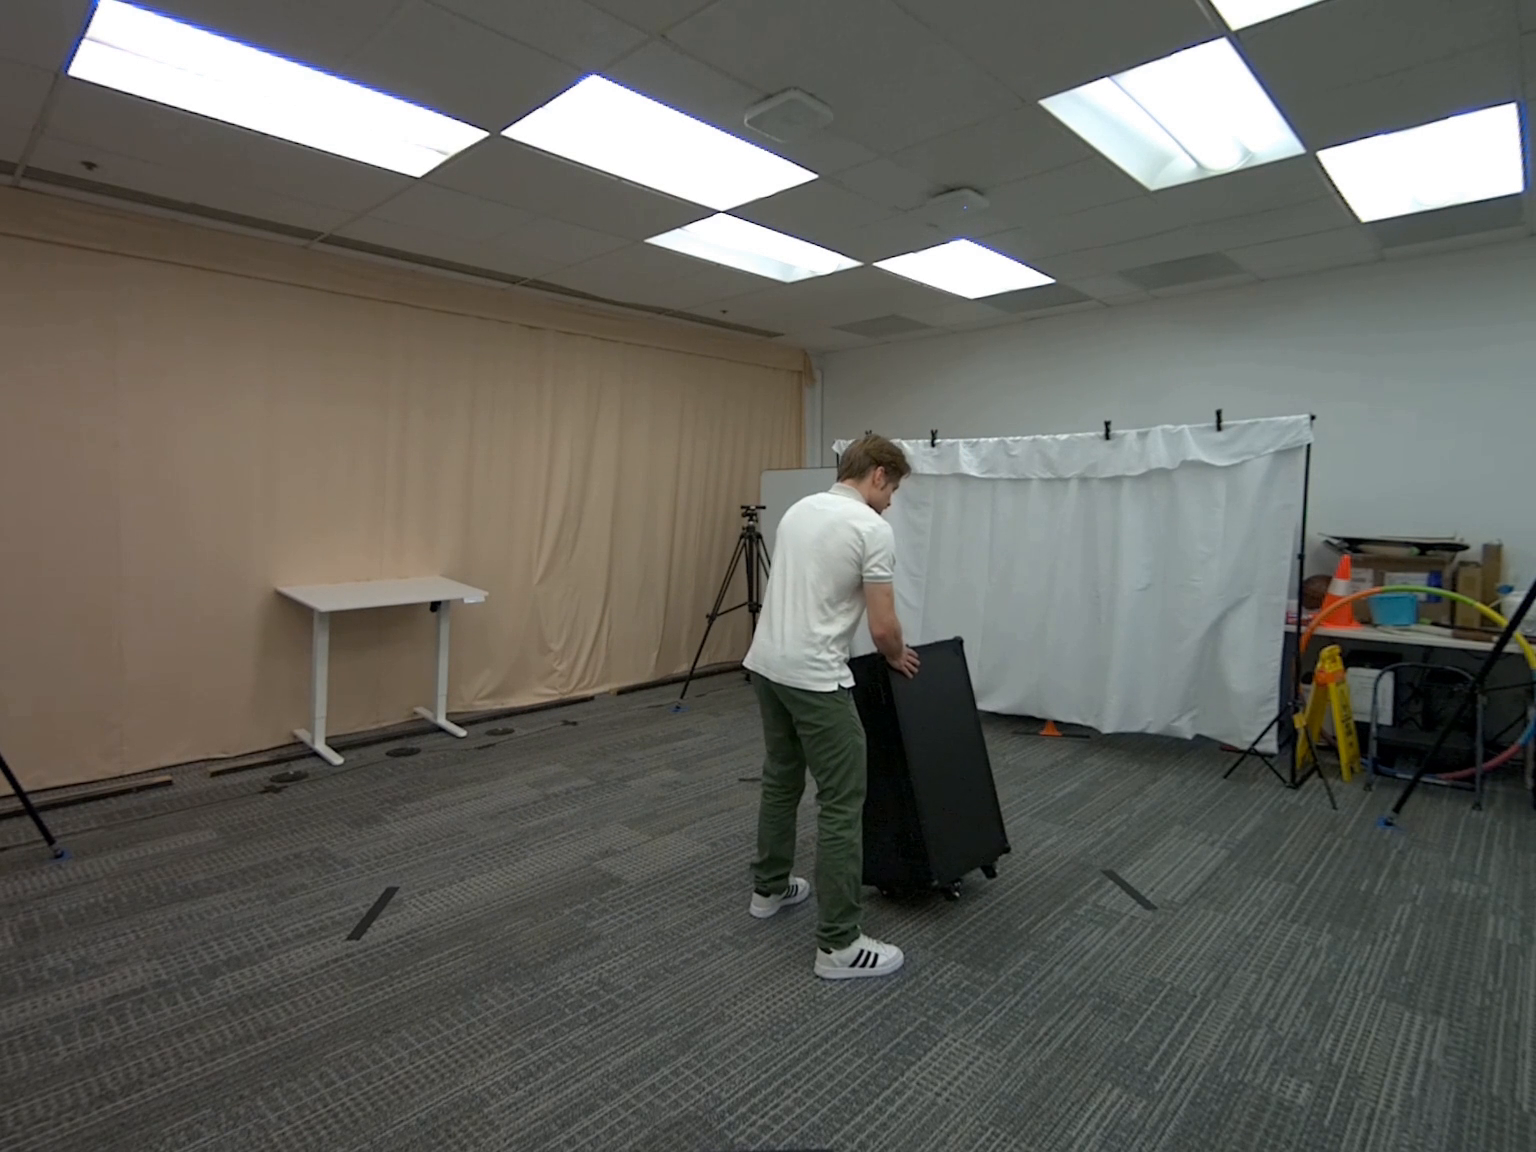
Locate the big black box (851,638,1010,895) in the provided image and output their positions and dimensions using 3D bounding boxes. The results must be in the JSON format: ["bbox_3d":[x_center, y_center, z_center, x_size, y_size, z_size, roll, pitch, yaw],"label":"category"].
[{"bbox_3d":[0.517,0.695,3.068,0.505,0.868,0.406,-3,-11,-43],"label":"big black box"}]
